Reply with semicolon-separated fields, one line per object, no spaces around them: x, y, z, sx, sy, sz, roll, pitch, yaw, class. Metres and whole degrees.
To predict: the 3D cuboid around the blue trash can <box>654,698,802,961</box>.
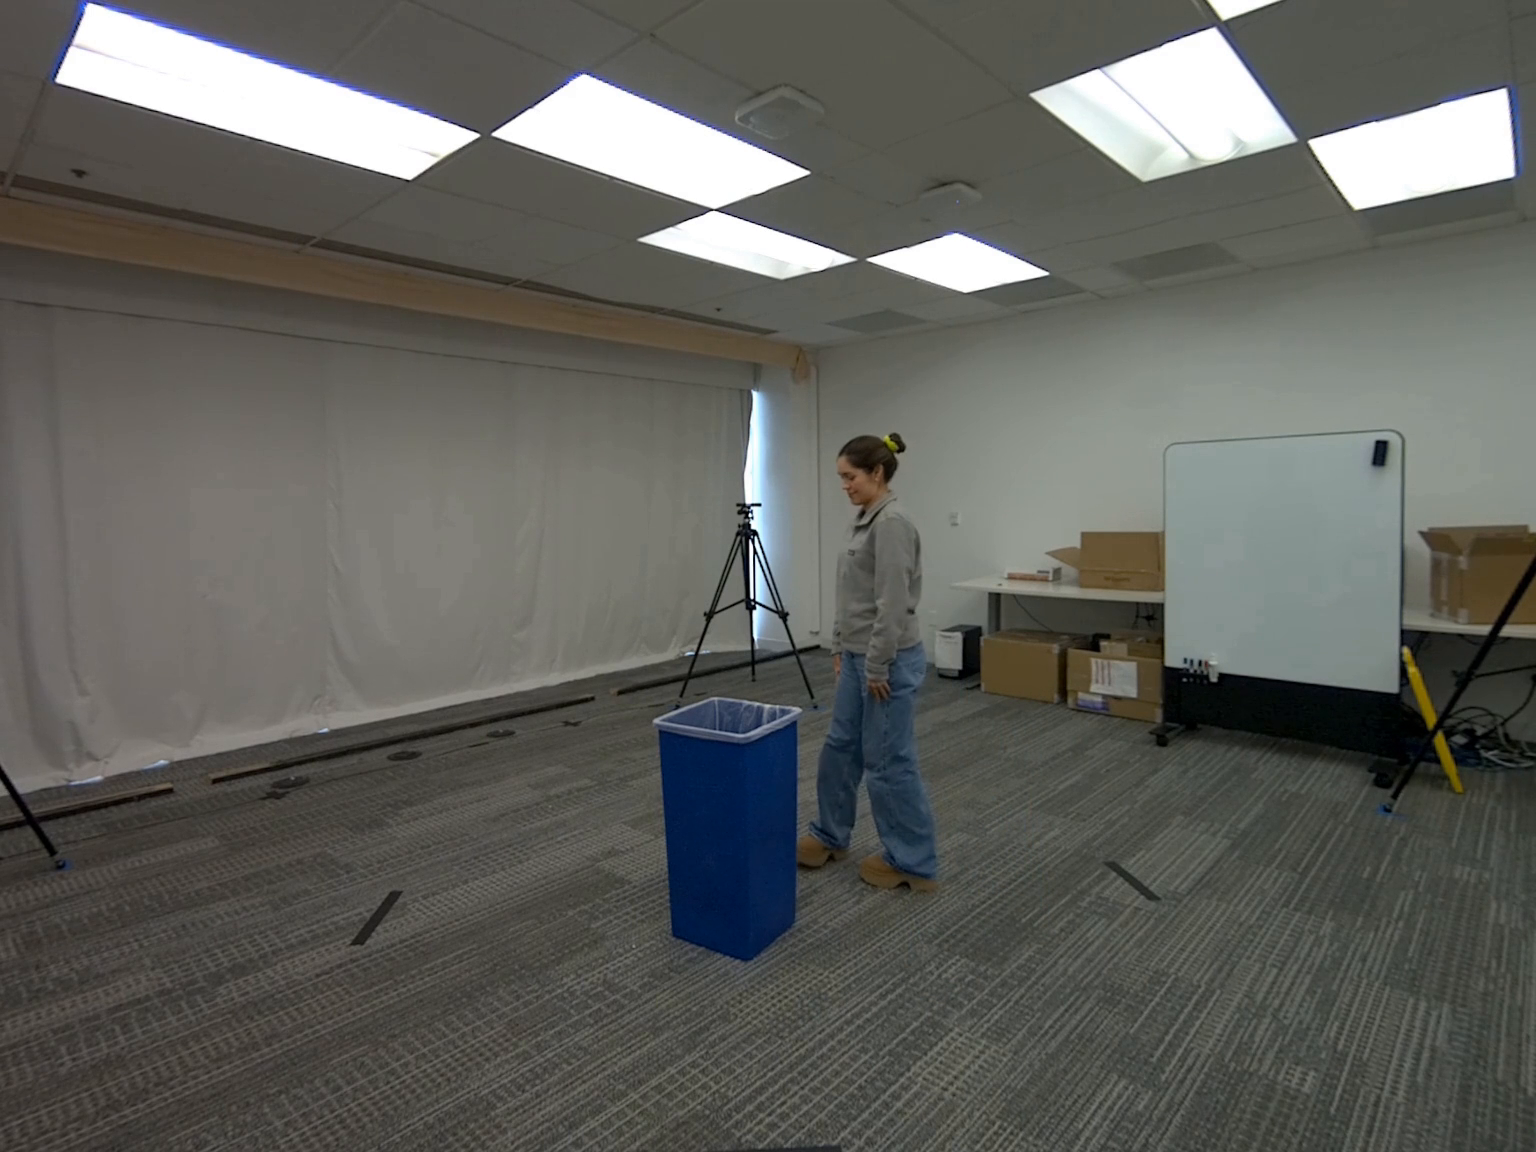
-0.117;0.803;2.730;0.389;0.712;0.363;1;3;33;blue trash can
